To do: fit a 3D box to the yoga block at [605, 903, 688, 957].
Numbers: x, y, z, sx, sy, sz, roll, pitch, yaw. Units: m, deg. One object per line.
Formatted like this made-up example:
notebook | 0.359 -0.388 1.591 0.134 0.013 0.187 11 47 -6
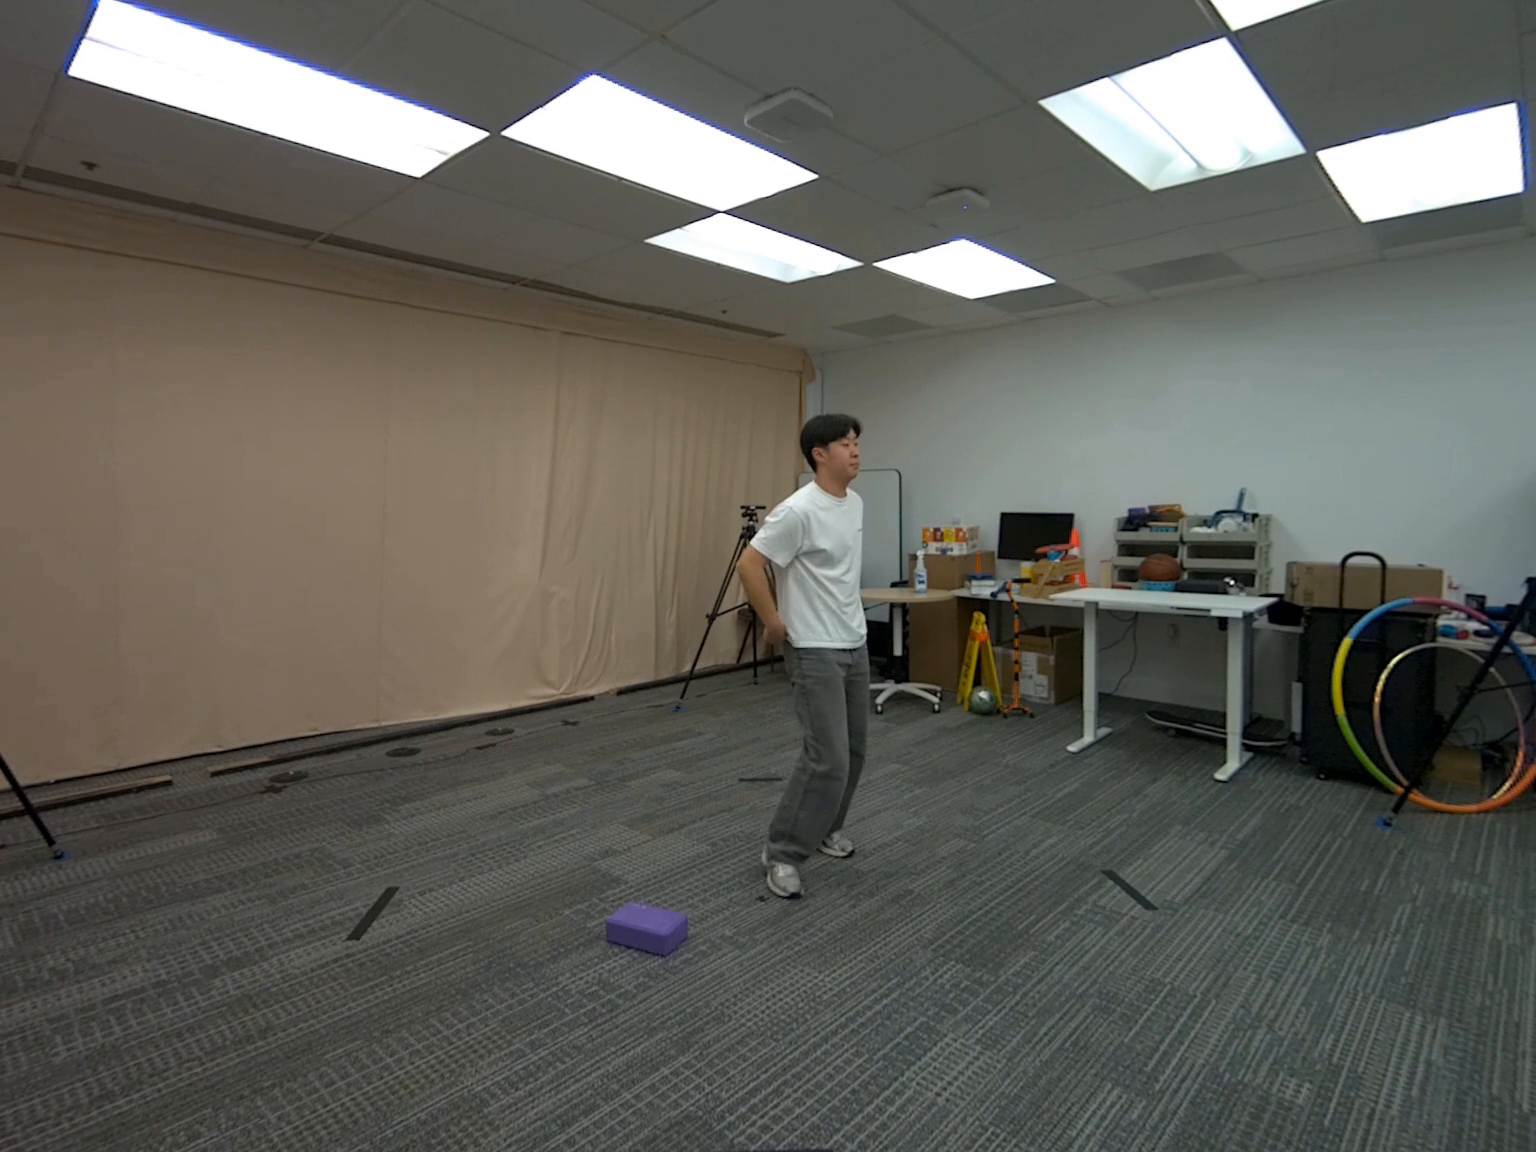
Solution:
yoga block | -0.383 1.134 2.701 0.235 0.076 0.145 2 4 25
